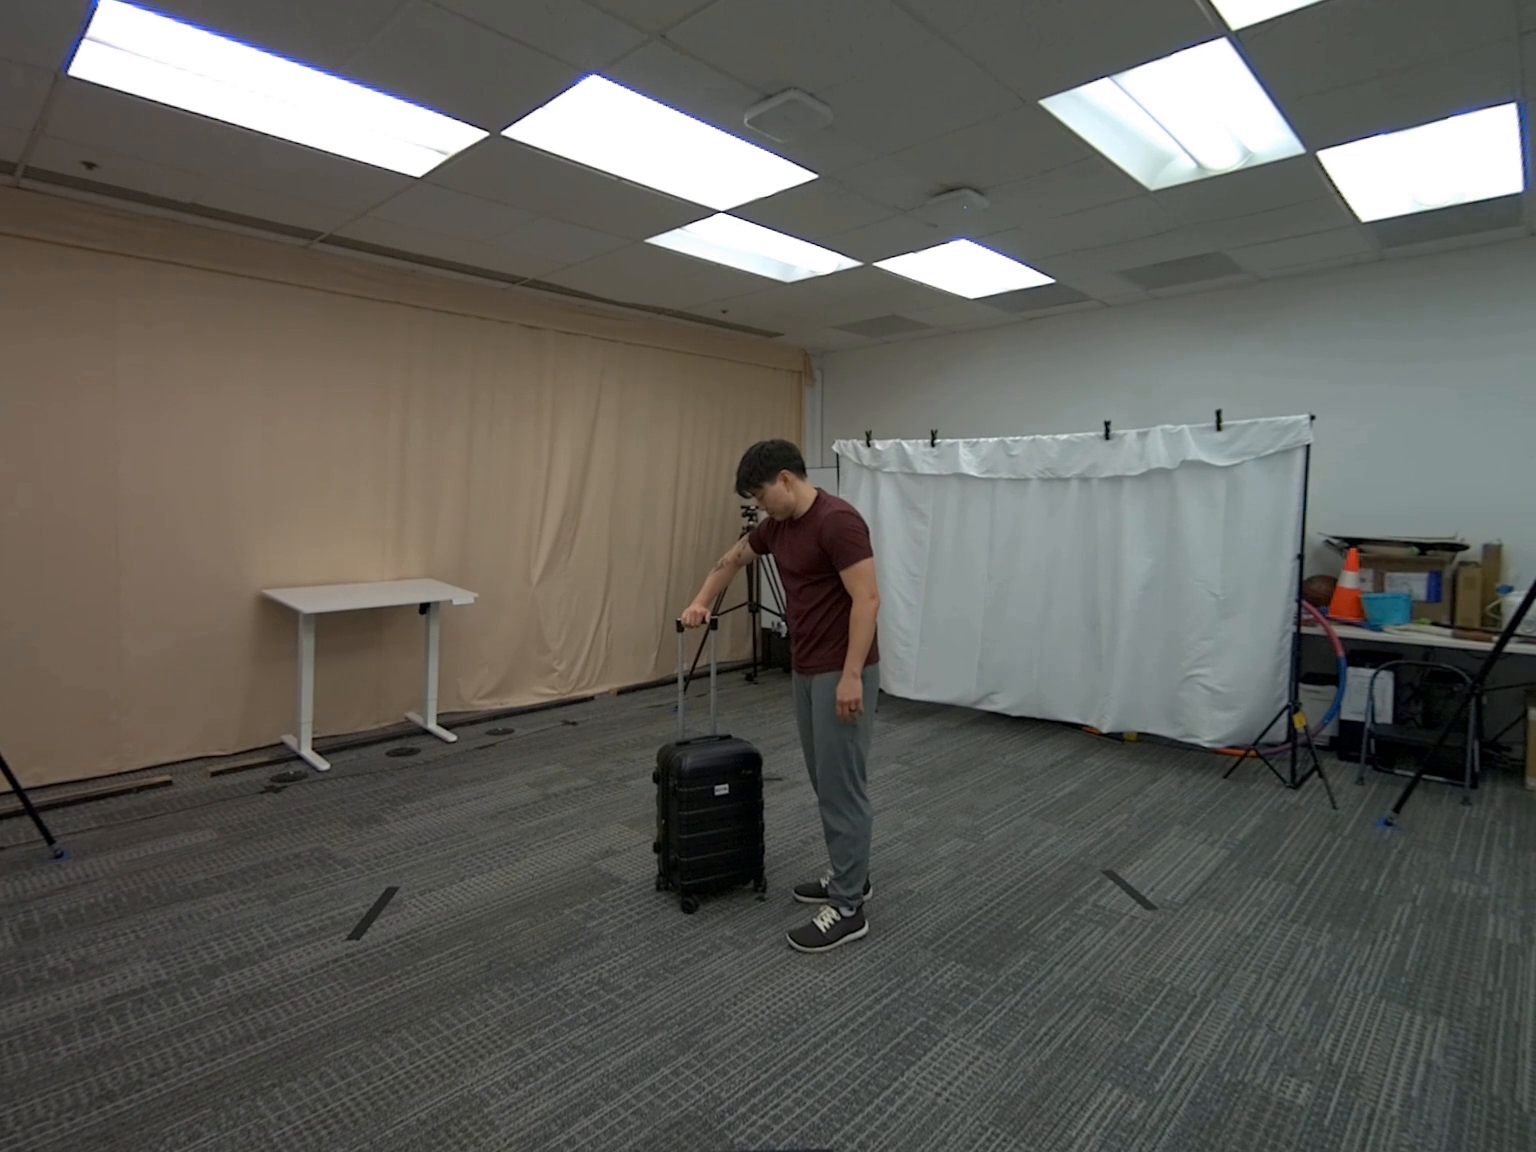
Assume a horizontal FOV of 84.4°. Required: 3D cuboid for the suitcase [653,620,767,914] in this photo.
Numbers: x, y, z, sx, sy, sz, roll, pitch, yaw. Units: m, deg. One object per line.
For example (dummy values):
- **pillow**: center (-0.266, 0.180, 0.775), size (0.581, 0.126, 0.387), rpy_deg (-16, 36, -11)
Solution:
- **suitcase**: center (-0.206, 0.662, 3.034), size (0.375, 0.976, 0.264), rpy_deg (-1, 4, -25)
